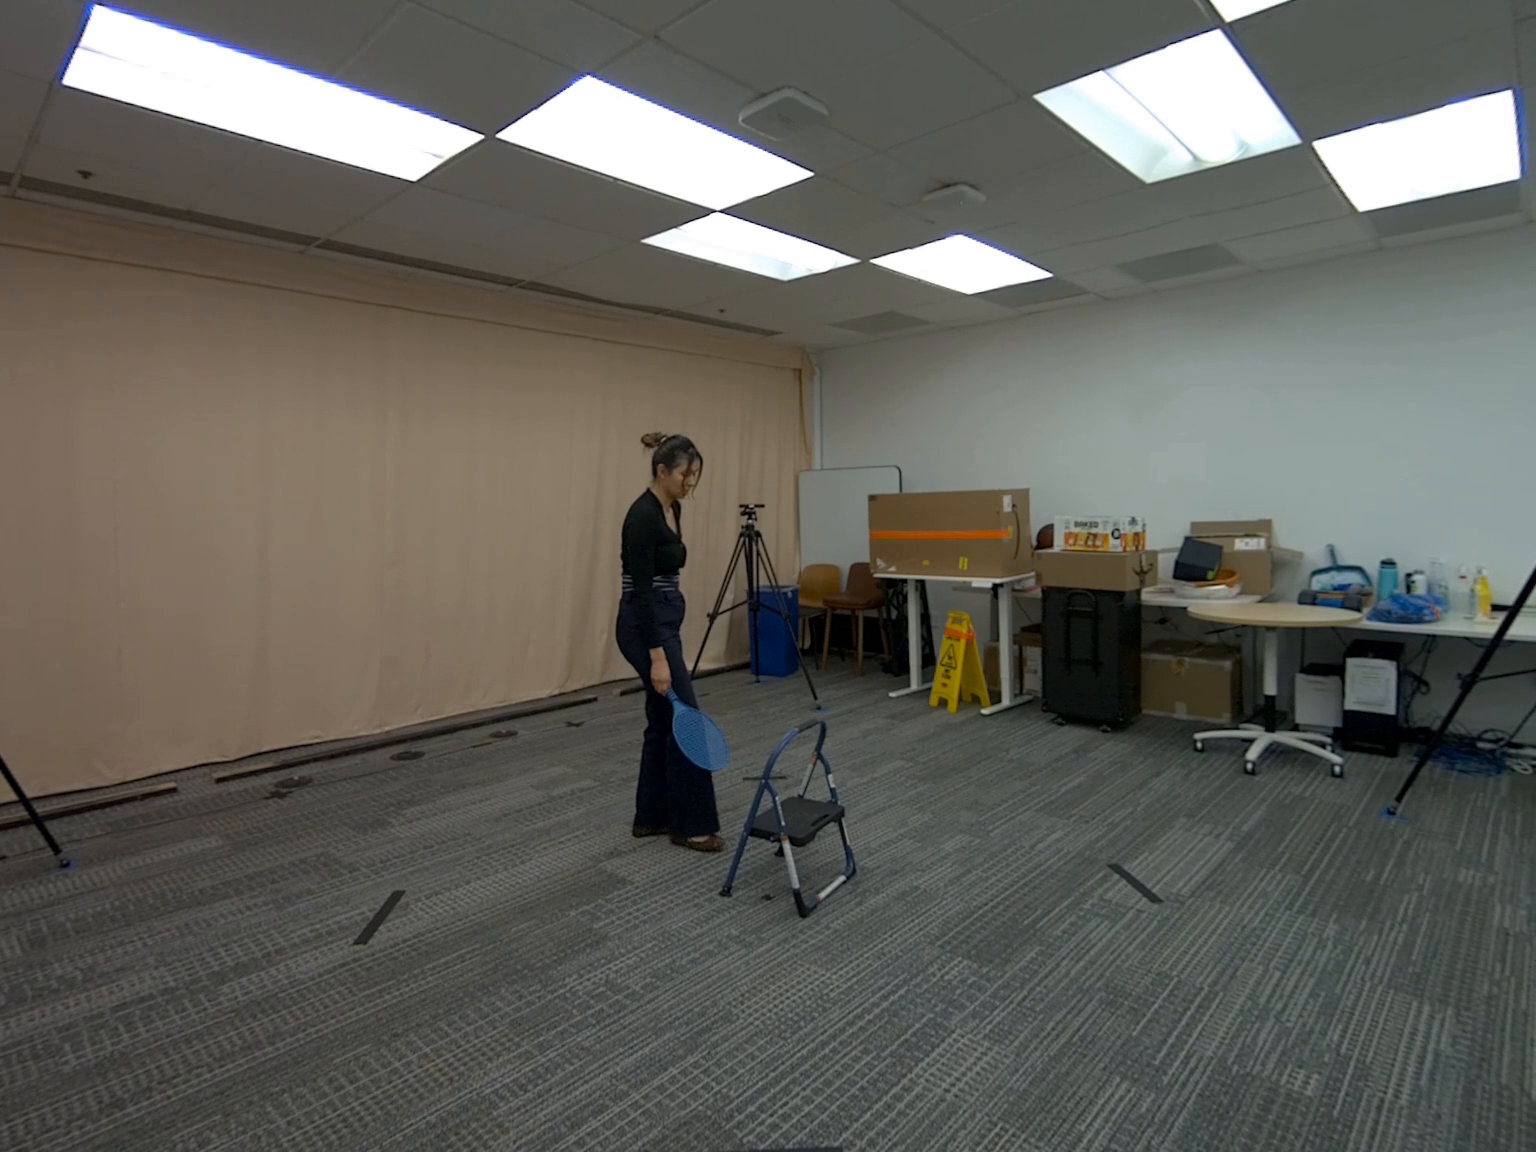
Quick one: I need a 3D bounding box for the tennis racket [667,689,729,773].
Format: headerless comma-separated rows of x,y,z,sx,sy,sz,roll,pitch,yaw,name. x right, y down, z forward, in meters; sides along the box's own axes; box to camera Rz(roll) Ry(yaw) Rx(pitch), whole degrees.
-0.294,0.558,3.212,0.441,0.032,0.209,46,37,16,tennis racket
